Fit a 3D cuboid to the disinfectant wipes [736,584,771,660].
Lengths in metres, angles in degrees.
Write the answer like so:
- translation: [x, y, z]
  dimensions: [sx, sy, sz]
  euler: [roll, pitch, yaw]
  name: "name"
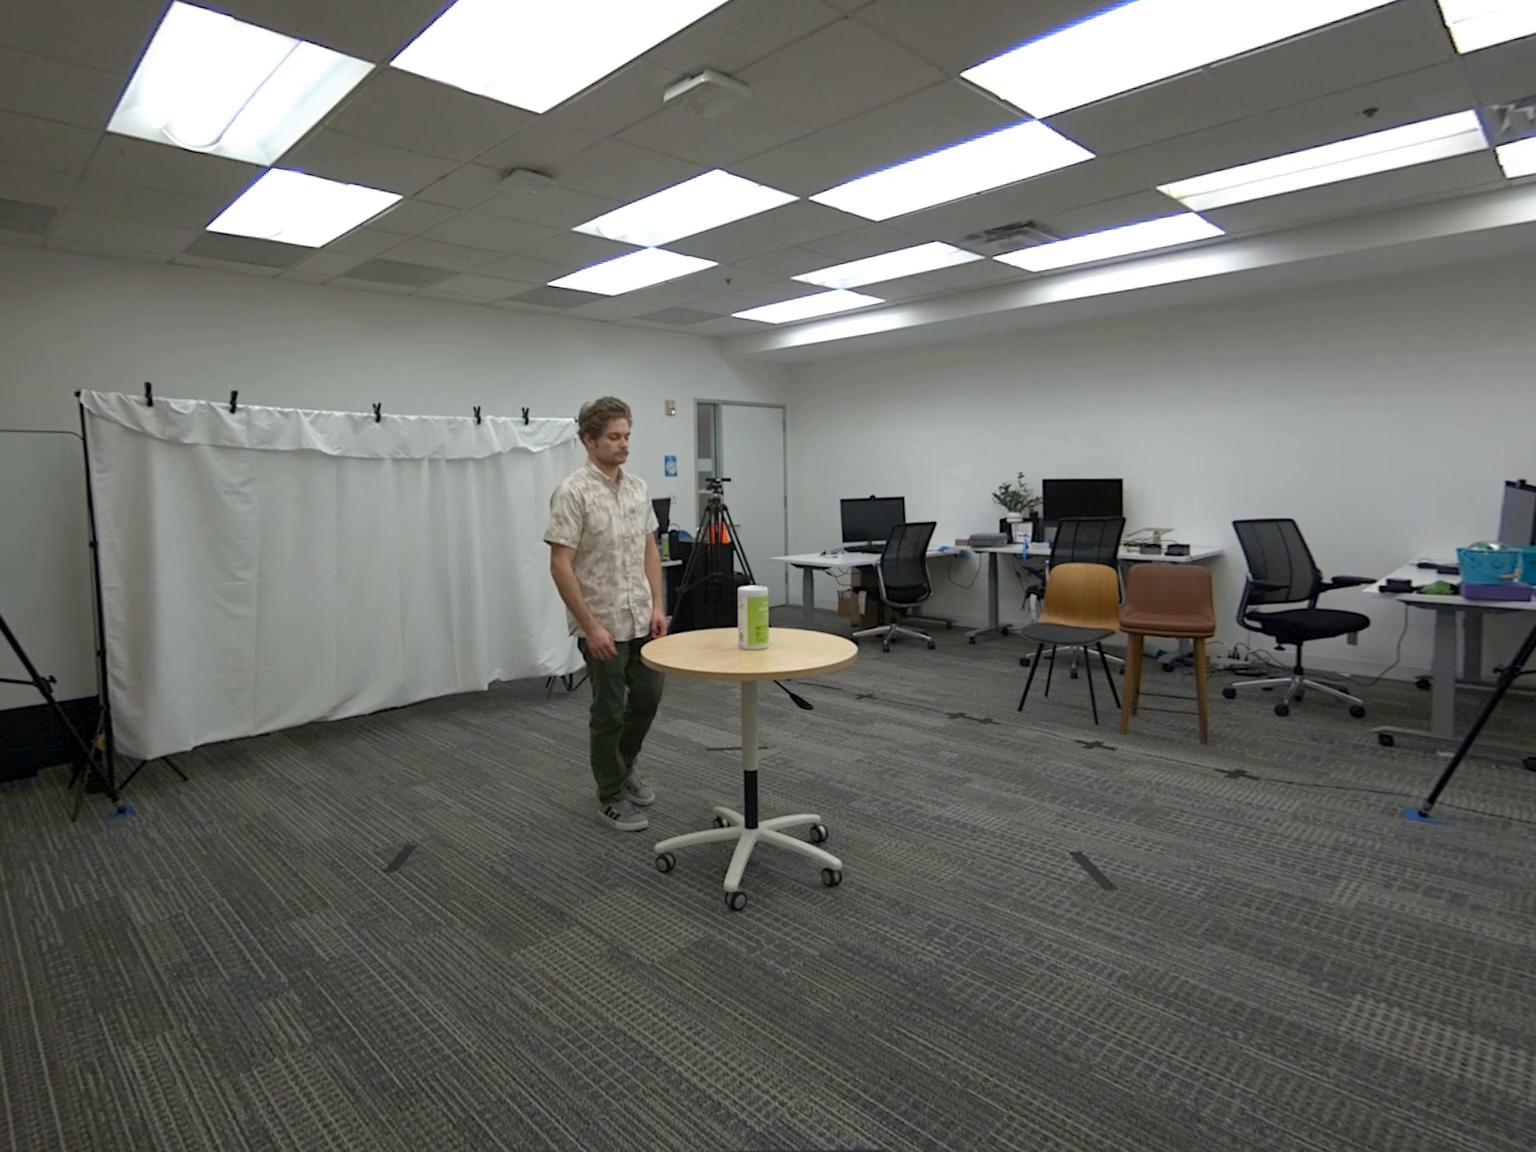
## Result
- translation: [-0.054, 0.148, 3.031]
  dimensions: [0.118, 0.217, 0.118]
  euler: [-1, 4, -2]
  name: "disinfectant wipes"
